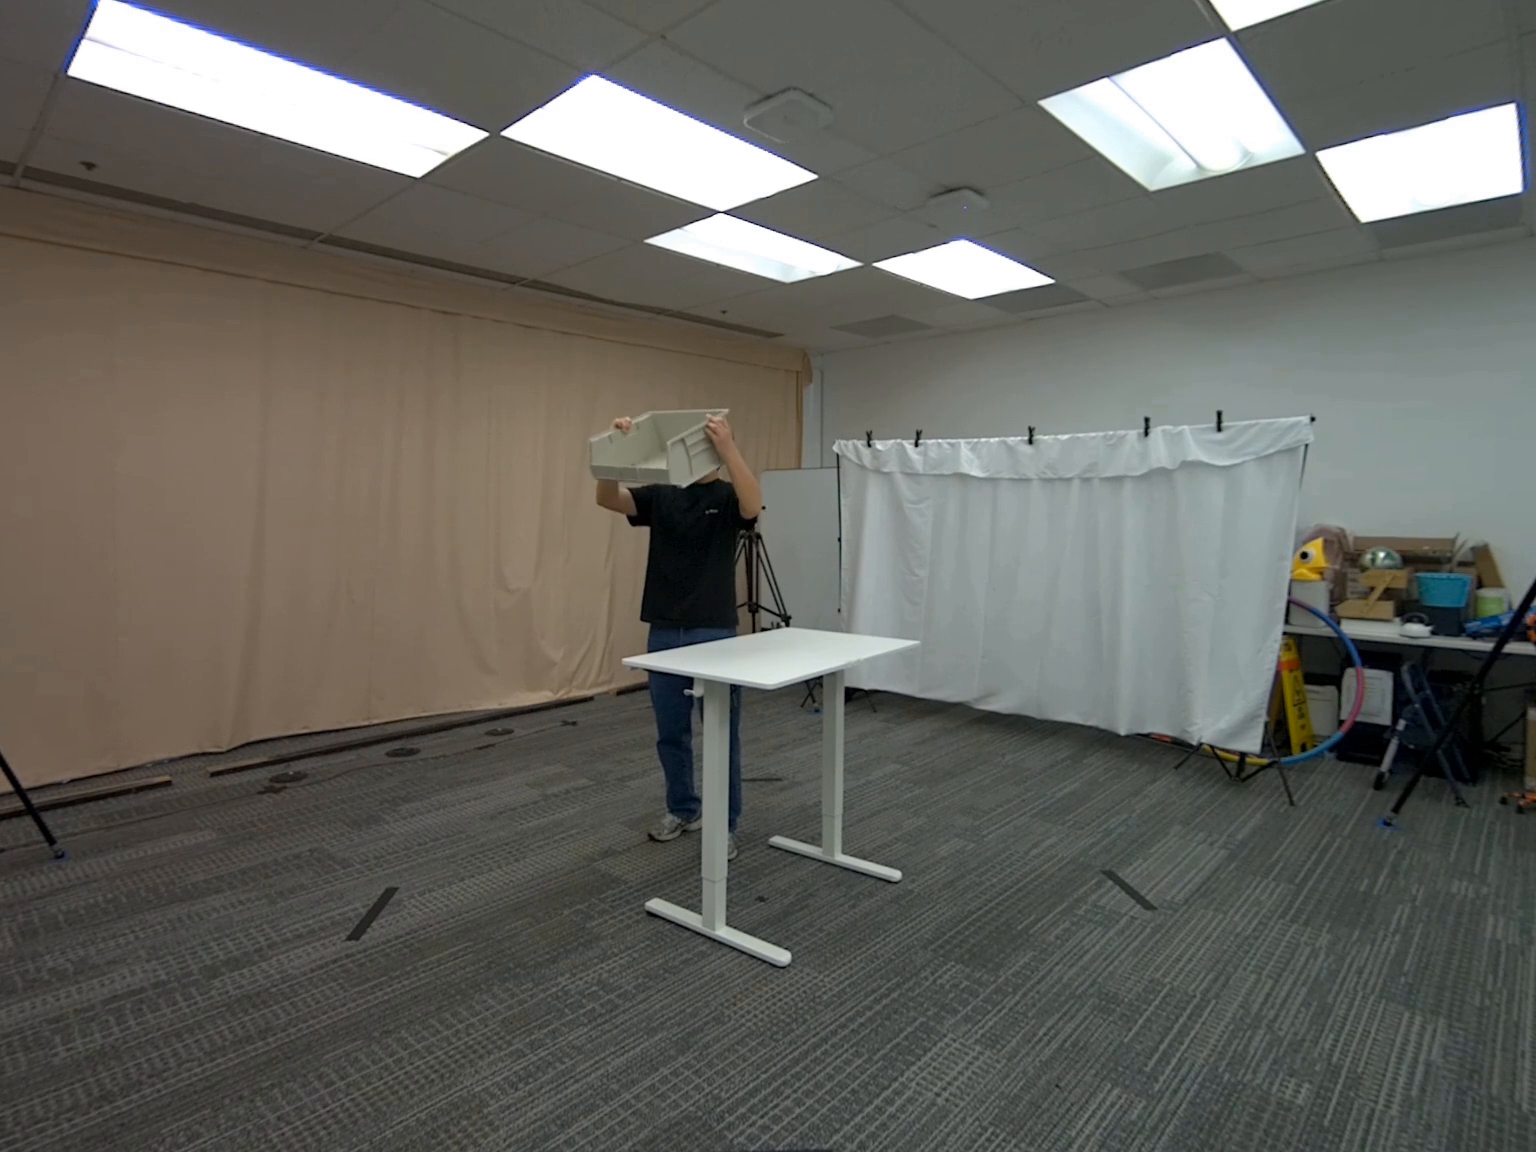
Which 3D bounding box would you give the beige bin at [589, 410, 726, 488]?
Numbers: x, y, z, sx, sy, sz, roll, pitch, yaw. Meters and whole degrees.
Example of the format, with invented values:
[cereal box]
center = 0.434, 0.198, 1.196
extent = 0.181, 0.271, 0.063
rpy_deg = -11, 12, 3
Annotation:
[beige bin]
center = -0.387, -0.471, 3.120
extent = 0.437, 0.186, 0.371
rpy_deg = 7, 29, 40
